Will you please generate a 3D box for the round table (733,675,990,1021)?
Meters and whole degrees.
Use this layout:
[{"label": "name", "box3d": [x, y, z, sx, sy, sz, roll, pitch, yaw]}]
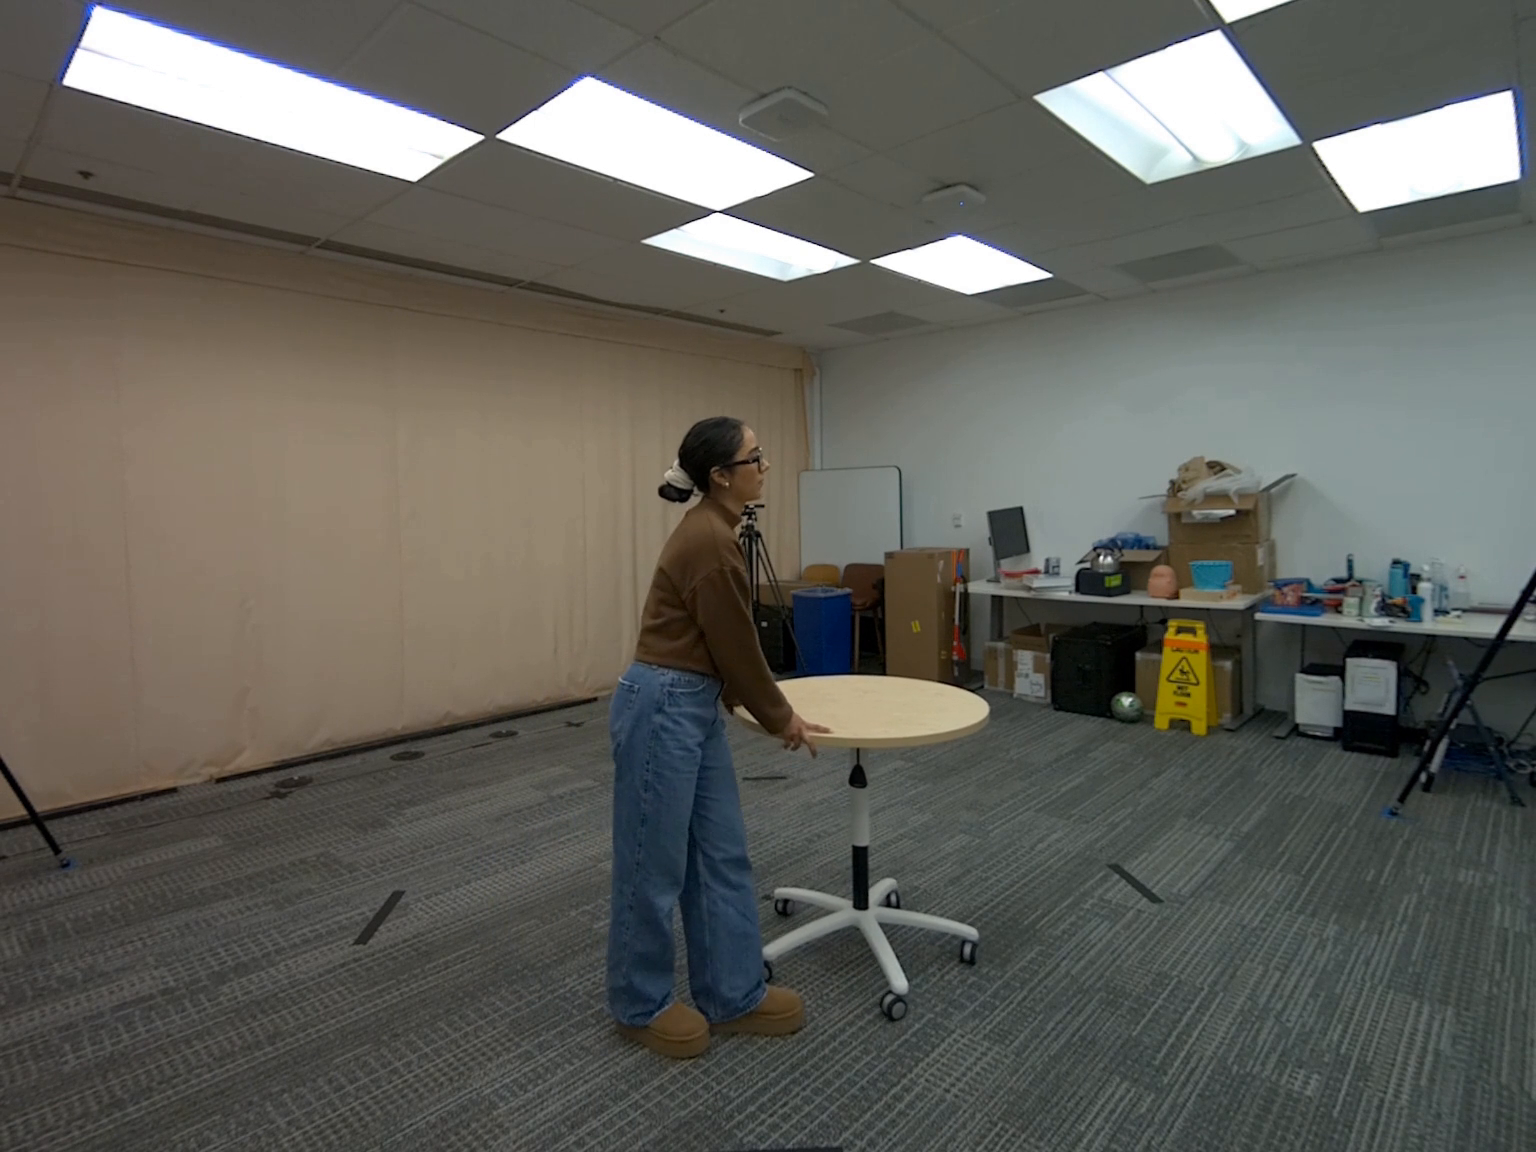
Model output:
[{"label": "round table", "box3d": [0.288, 0.775, 2.583, 0.784, 0.785, 0.788, -2, 4, -2]}]
